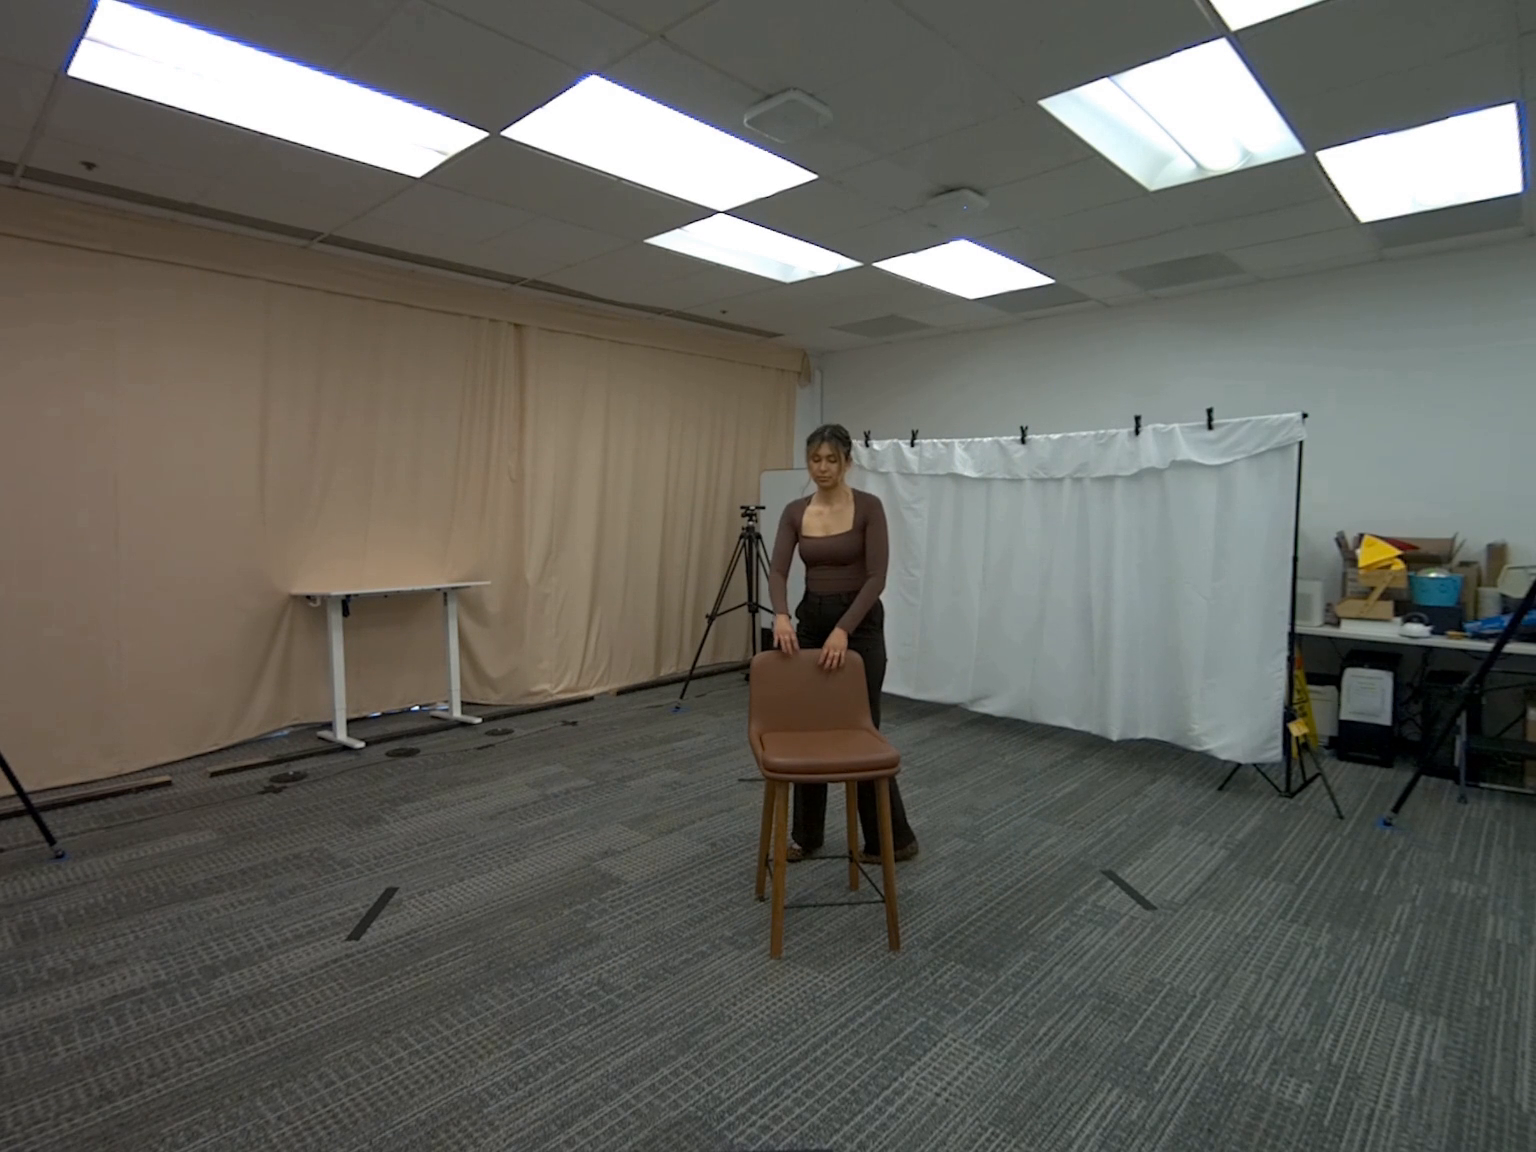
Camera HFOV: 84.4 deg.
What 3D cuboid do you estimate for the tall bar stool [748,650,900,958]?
[{"bbox_3d":[0.176,0.722,2.815,0.453,0.889,0.472,0,1,-9],"label":"tall bar stool"}]
